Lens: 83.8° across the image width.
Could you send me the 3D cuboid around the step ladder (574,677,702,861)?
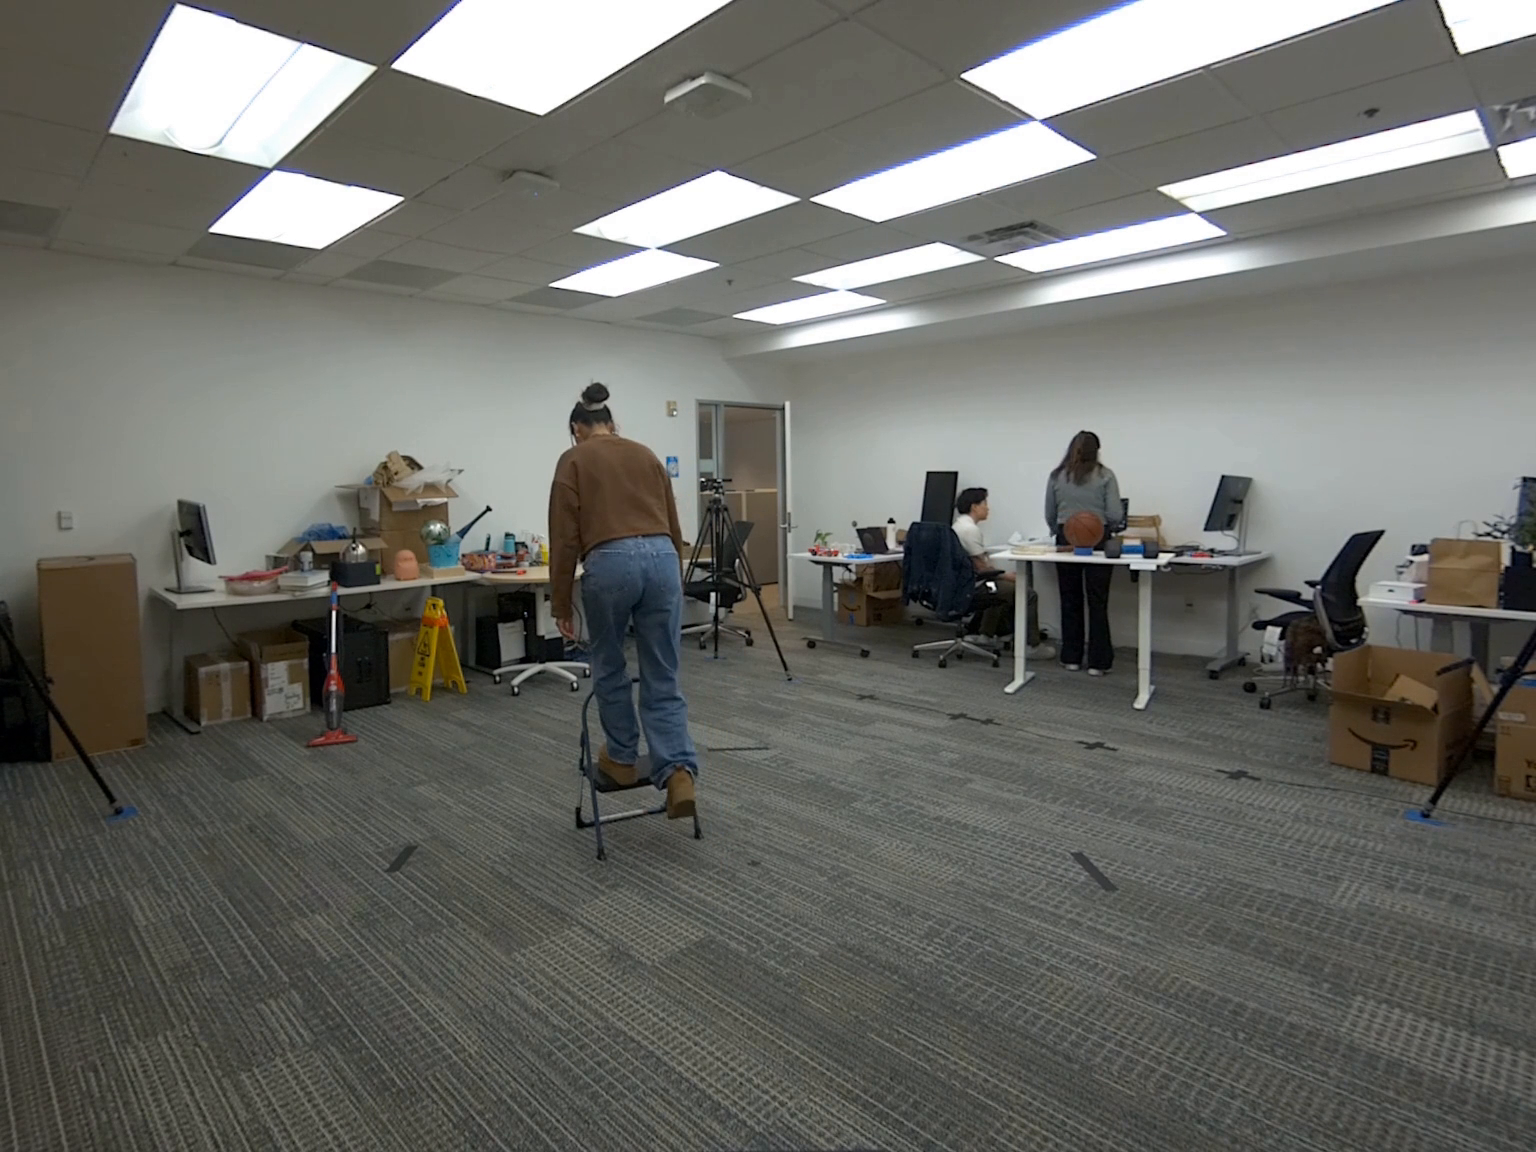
[{"bbox_3d":[-0.521,0.721,3.384,0.421,0.604,0.358,-4,5,-28],"label":"step ladder"}]
